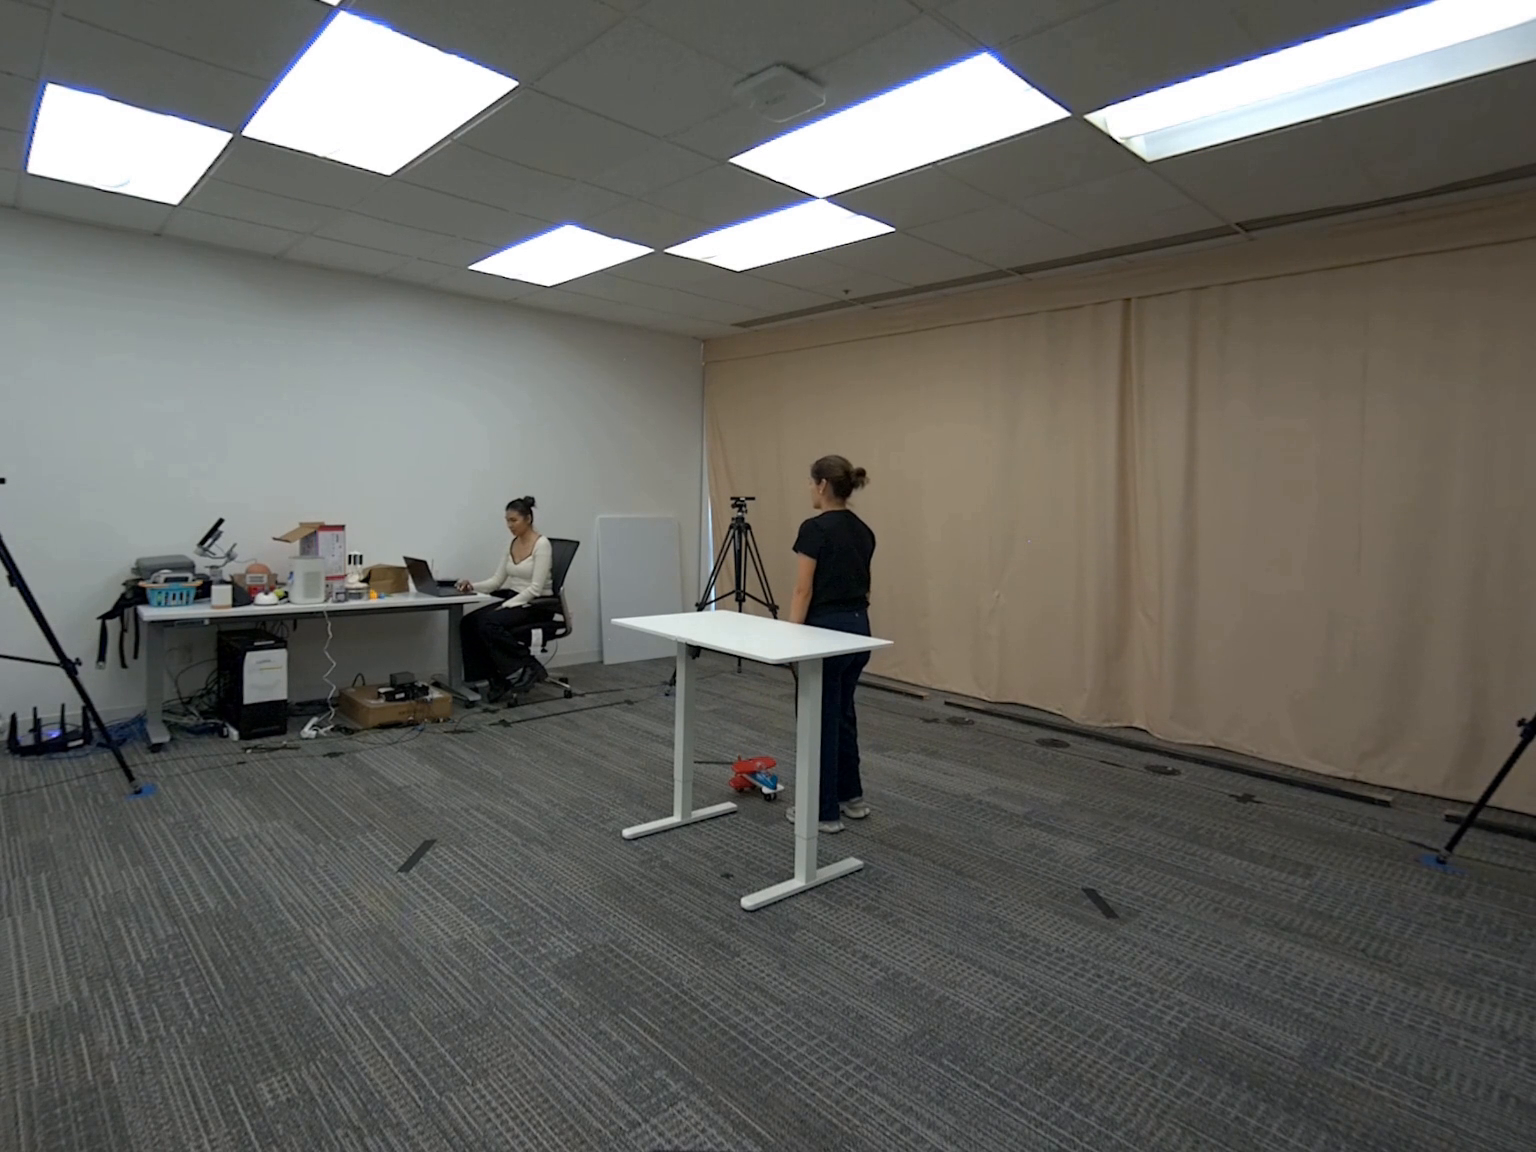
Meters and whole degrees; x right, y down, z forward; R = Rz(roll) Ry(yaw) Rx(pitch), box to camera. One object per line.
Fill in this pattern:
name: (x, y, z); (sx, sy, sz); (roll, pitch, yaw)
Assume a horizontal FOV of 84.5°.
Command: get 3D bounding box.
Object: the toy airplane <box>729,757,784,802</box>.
toy airplane: (-0.044, 0.958, 3.980); (0.263, 0.156, 0.248); (2, 4, 20)
